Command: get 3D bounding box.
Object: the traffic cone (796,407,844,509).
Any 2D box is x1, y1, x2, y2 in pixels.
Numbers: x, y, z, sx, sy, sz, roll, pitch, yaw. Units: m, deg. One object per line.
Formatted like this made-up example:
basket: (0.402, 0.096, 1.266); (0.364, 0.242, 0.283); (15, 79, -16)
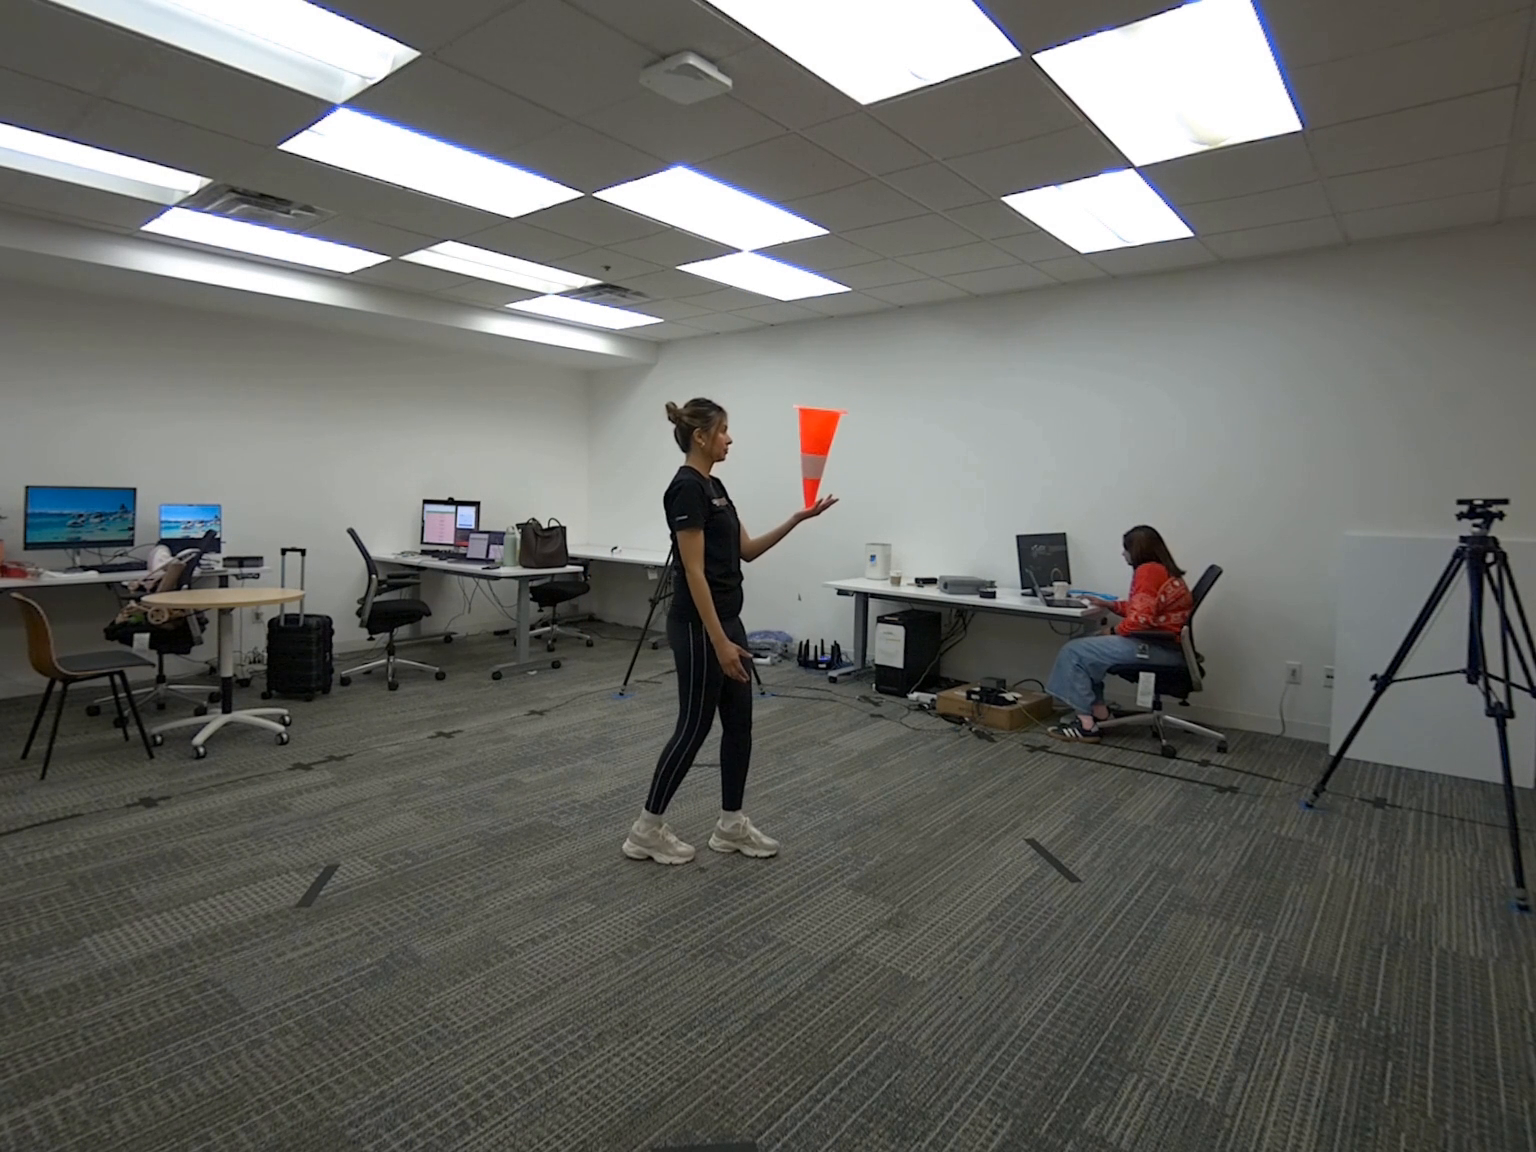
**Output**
traffic cone: (0.174, -0.438, 3.177); (0.206, 0.380, 0.204); (5, 10, 5)
